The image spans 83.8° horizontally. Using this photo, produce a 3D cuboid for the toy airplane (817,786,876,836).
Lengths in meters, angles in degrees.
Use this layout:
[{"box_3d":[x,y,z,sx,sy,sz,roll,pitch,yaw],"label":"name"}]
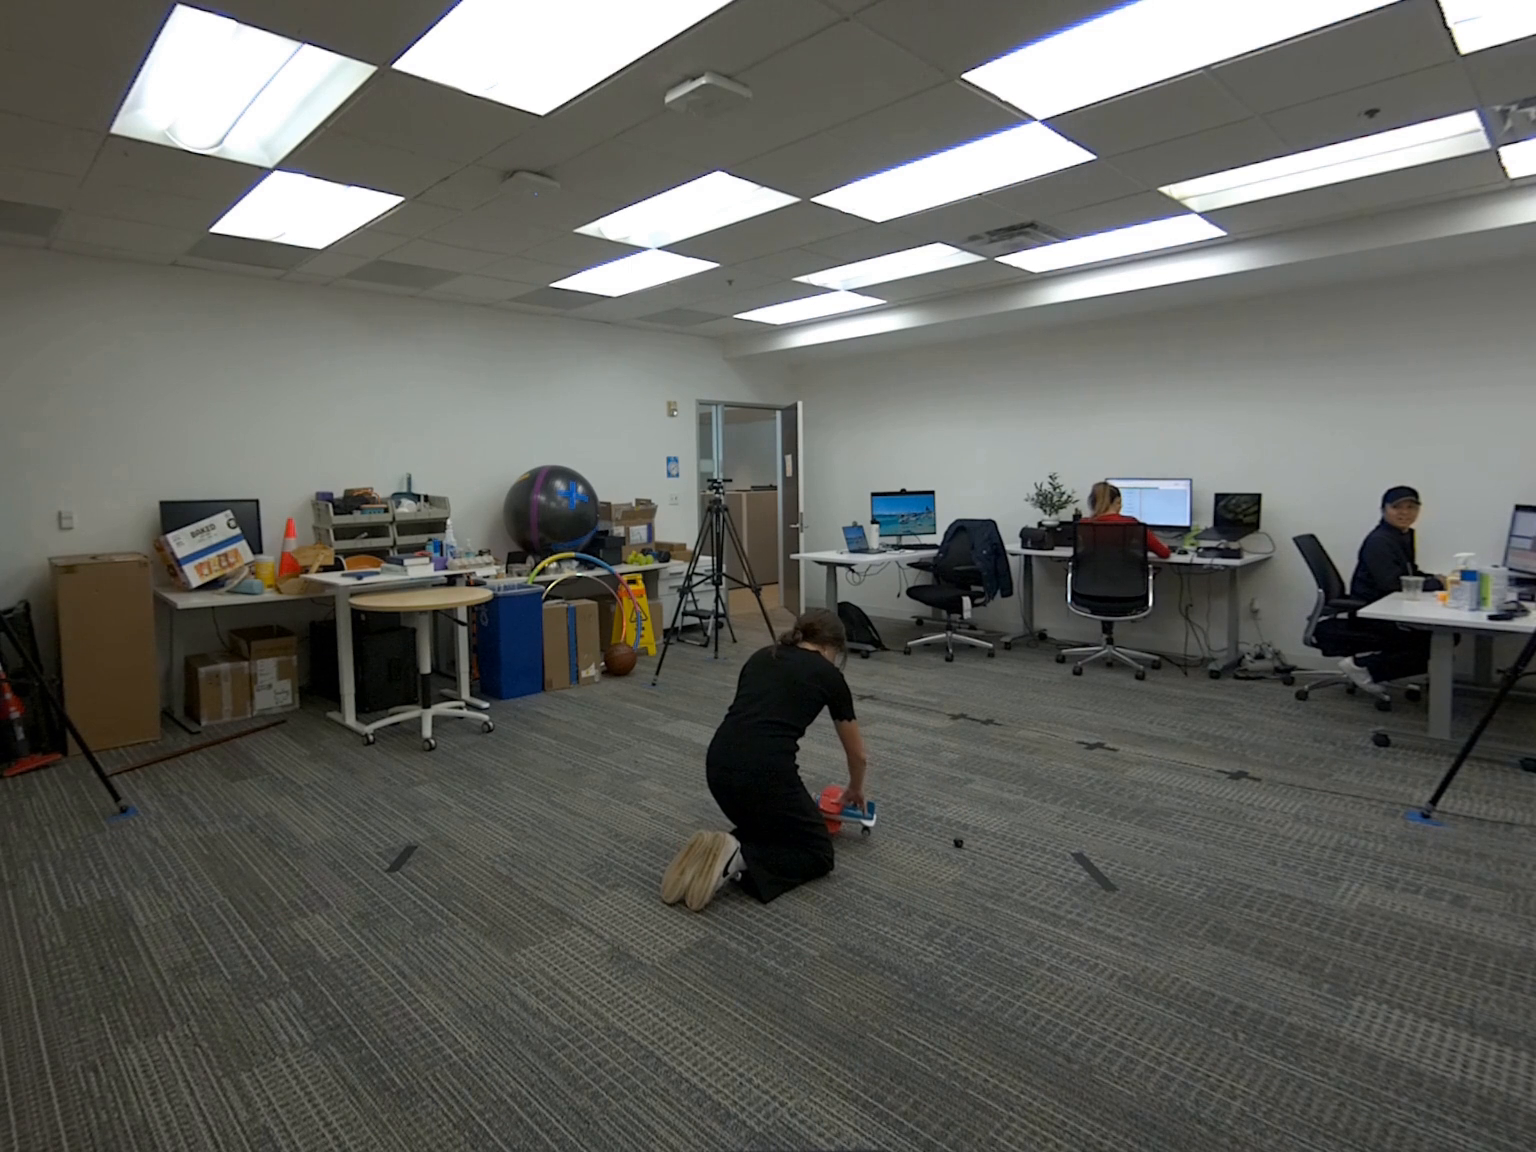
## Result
[{"box_3d":[0.295,0.933,3.356,0.256,0.156,0.255,-8,5,-14],"label":"toy airplane"}]
